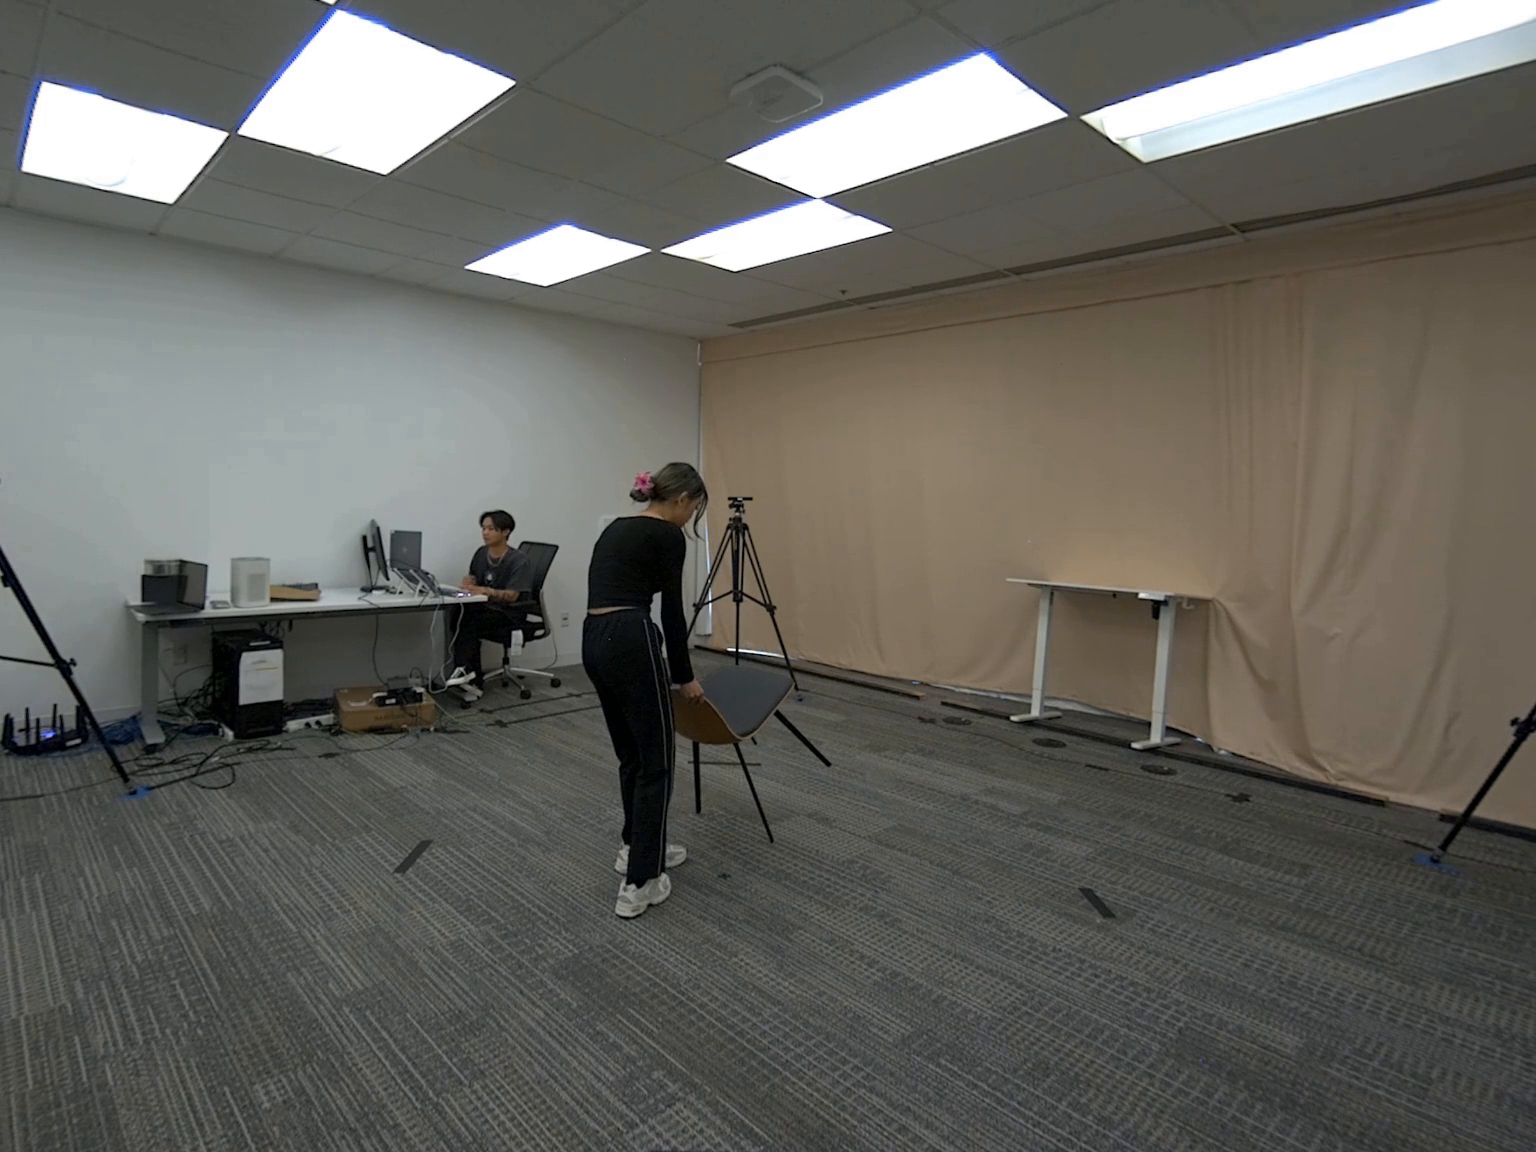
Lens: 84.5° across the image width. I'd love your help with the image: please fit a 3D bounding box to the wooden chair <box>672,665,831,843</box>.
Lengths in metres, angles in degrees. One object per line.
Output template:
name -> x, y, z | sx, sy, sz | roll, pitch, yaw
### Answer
wooden chair -> -0.163, 0.579, 3.508 | 0.490, 0.855, 0.523 | 5, 42, 43
